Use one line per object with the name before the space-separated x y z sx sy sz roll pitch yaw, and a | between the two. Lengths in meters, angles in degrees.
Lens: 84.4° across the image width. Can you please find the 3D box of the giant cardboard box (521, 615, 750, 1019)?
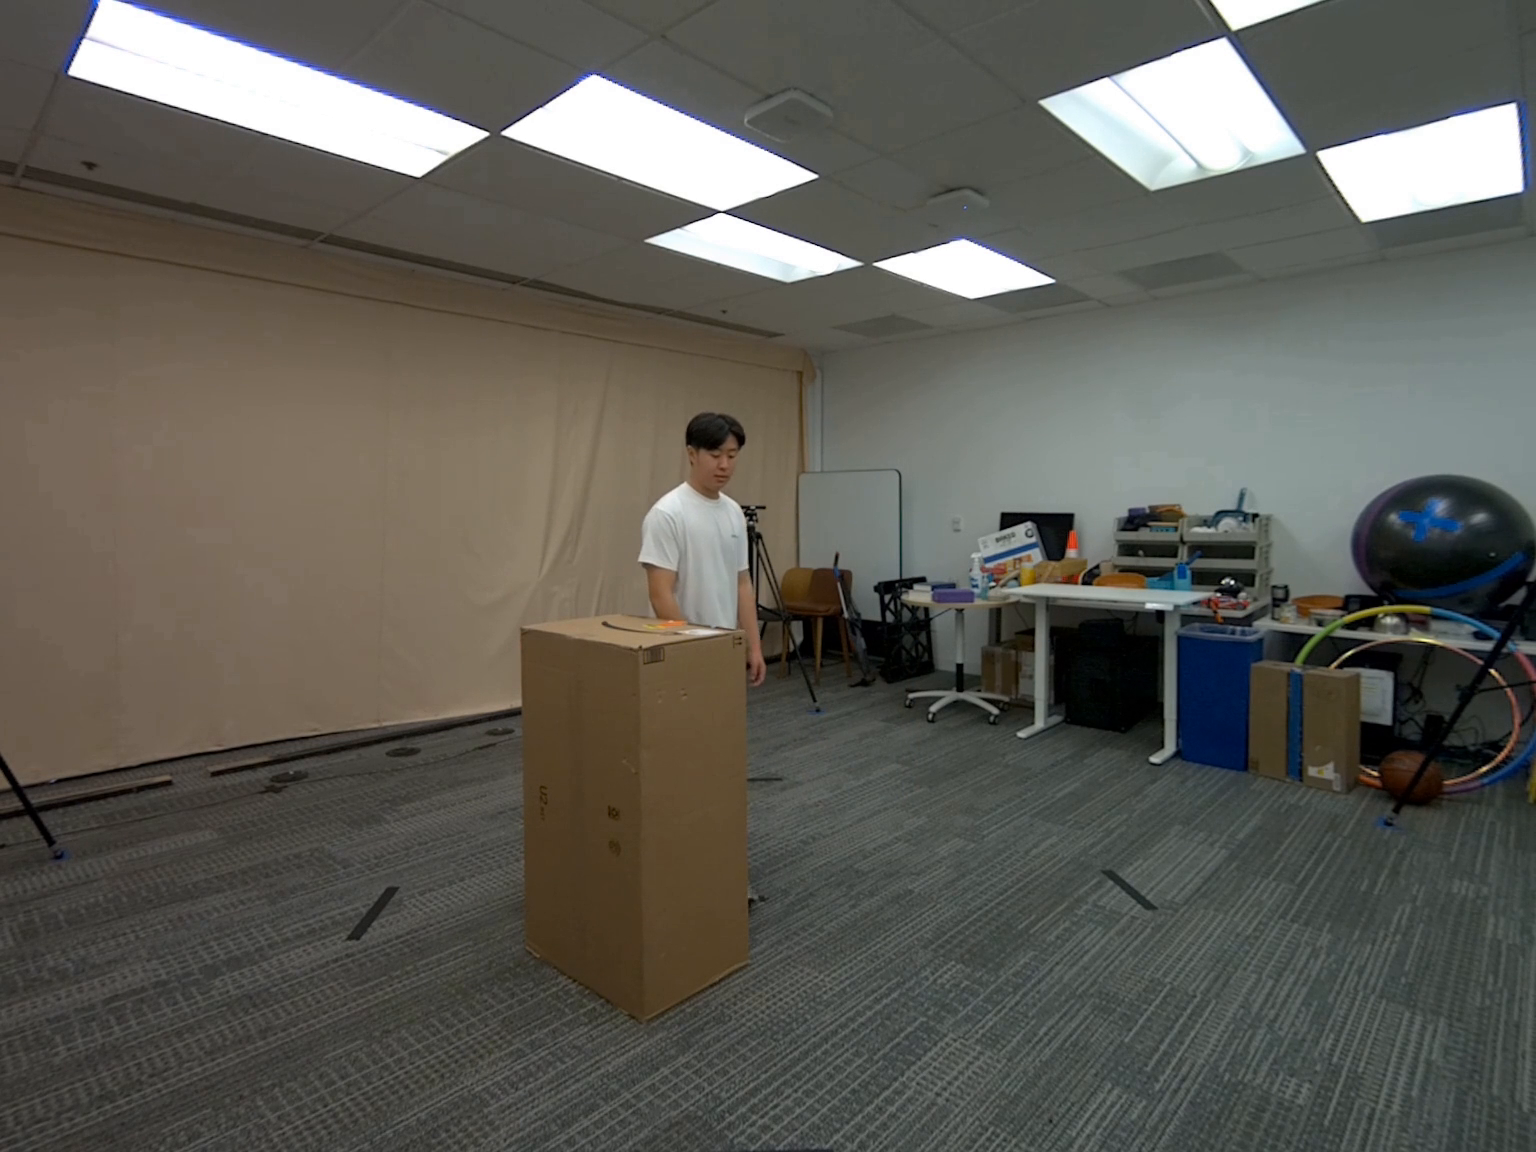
giant cardboard box | -0.414 0.673 2.584 0.597 1.024 0.413 3 4 42
